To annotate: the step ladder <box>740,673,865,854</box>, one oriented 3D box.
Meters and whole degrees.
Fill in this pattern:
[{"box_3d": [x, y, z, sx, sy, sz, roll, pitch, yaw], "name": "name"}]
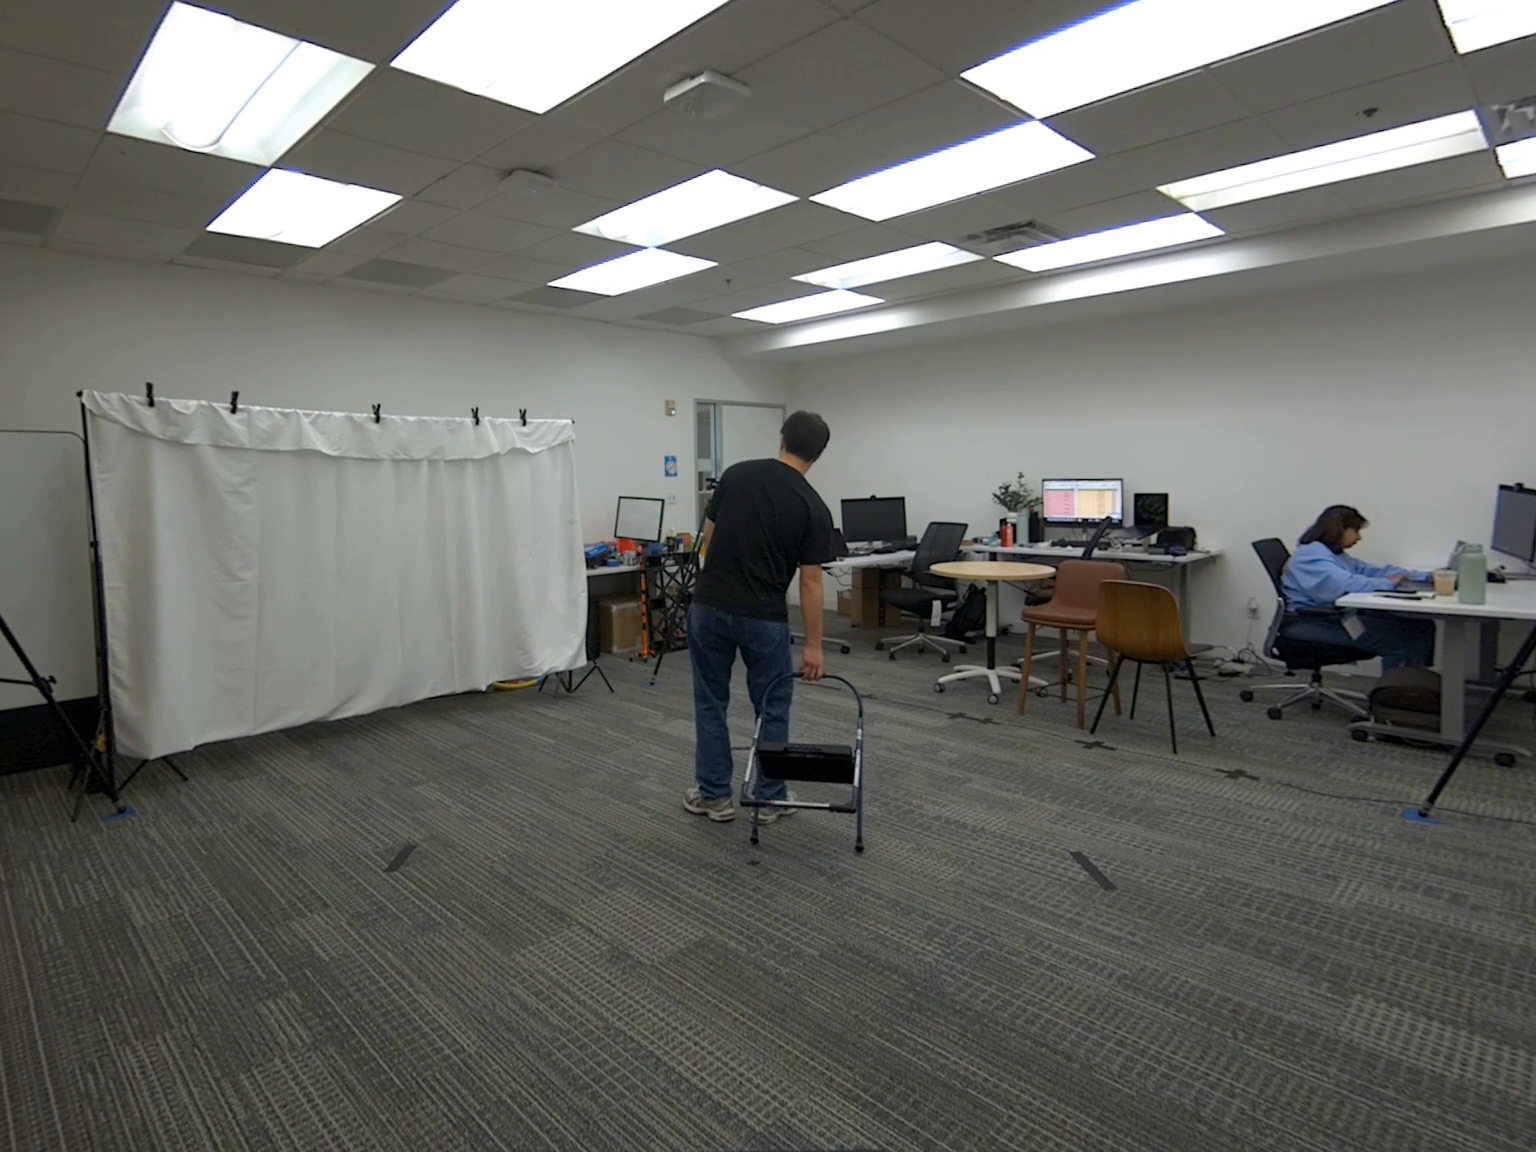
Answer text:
[{"box_3d": [0.156, 0.677, 3.291, 0.436, 0.619, 0.338, -1, -40, 11], "name": "step ladder"}]
